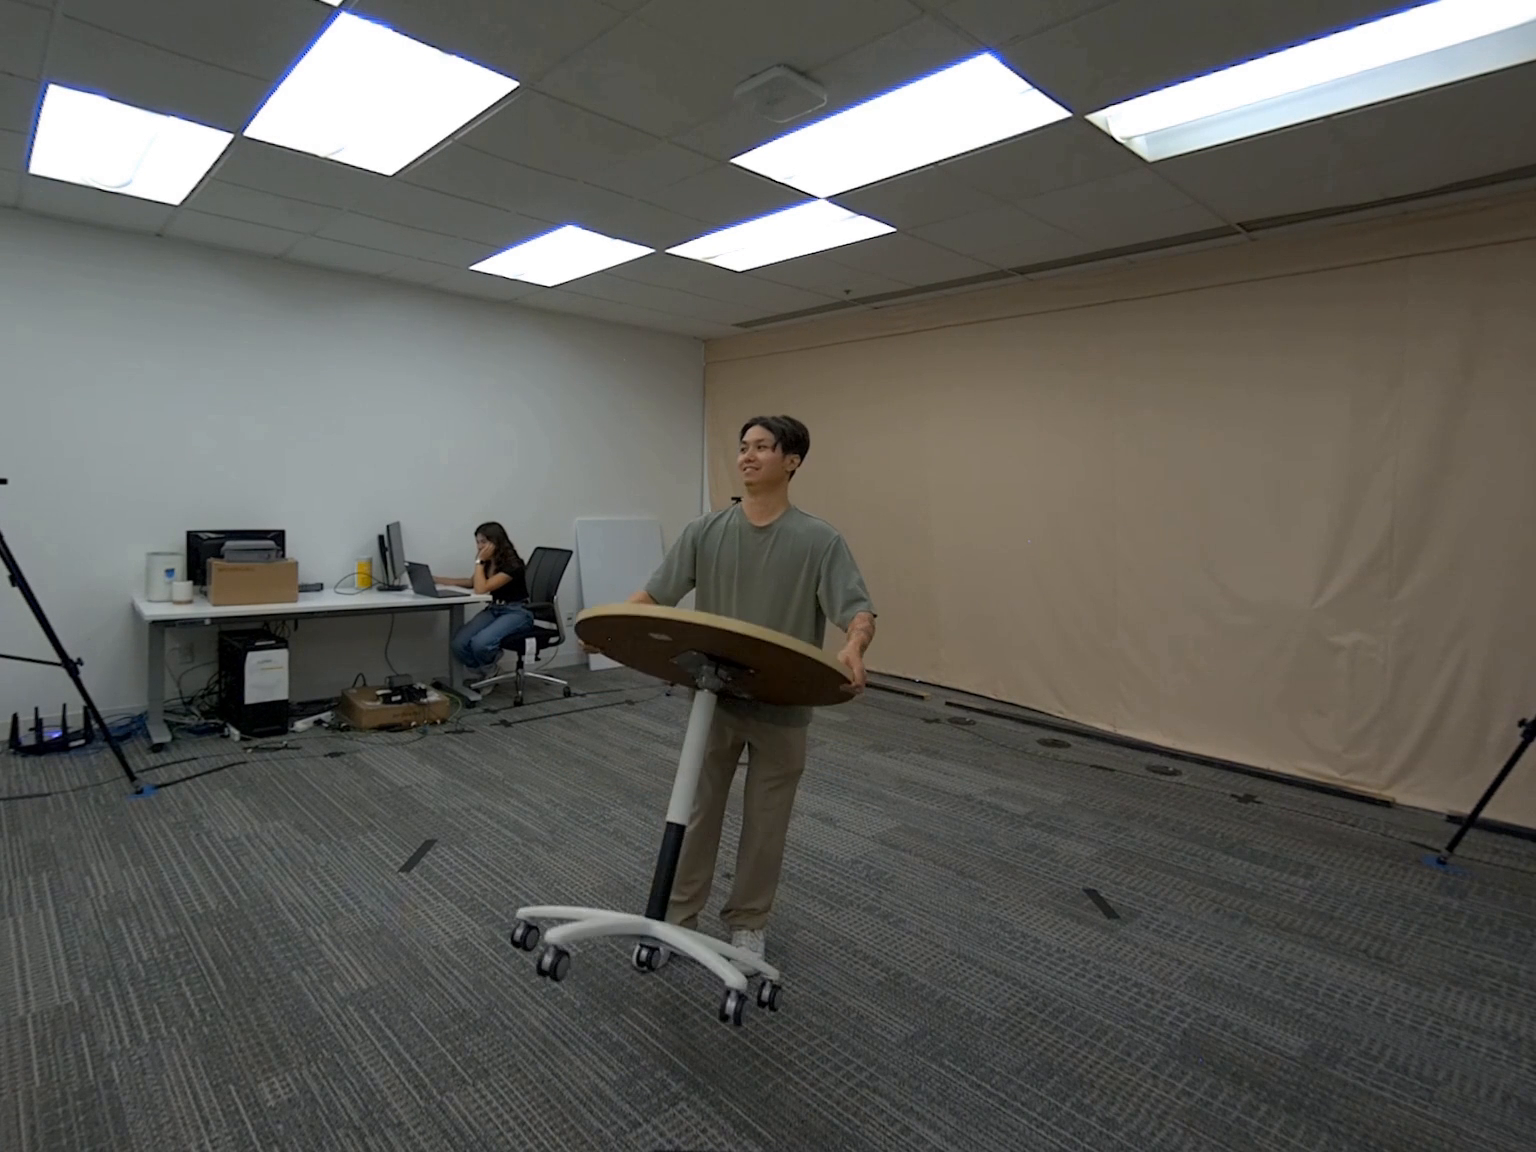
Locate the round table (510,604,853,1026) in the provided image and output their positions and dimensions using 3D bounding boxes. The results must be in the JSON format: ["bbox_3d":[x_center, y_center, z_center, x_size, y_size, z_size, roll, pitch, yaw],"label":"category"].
[{"bbox_3d":[-0.239,0.590,2.112,0.788,0.795,0.774,12,-21,3],"label":"round table"}]
